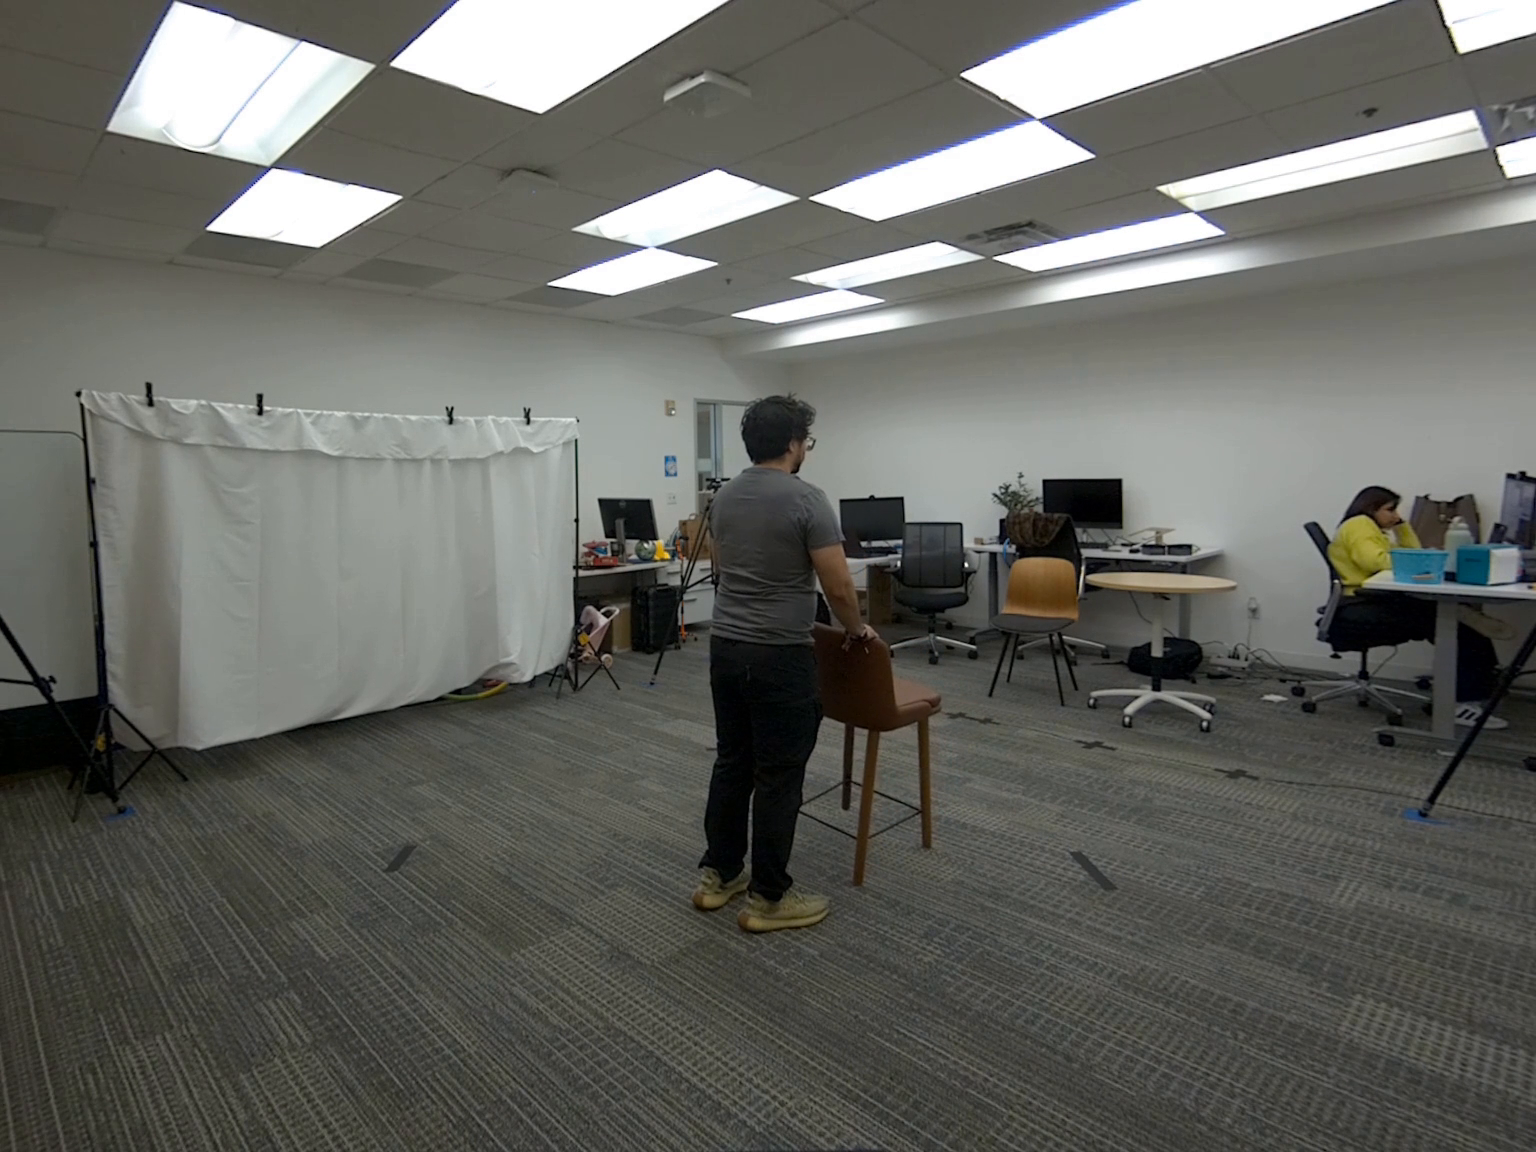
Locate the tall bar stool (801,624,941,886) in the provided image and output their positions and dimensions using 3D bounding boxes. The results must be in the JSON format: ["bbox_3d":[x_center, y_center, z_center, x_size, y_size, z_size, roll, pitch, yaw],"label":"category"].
[{"bbox_3d":[0.339,0.576,3.128,0.472,0.882,0.456,11,14,42],"label":"tall bar stool"}]
